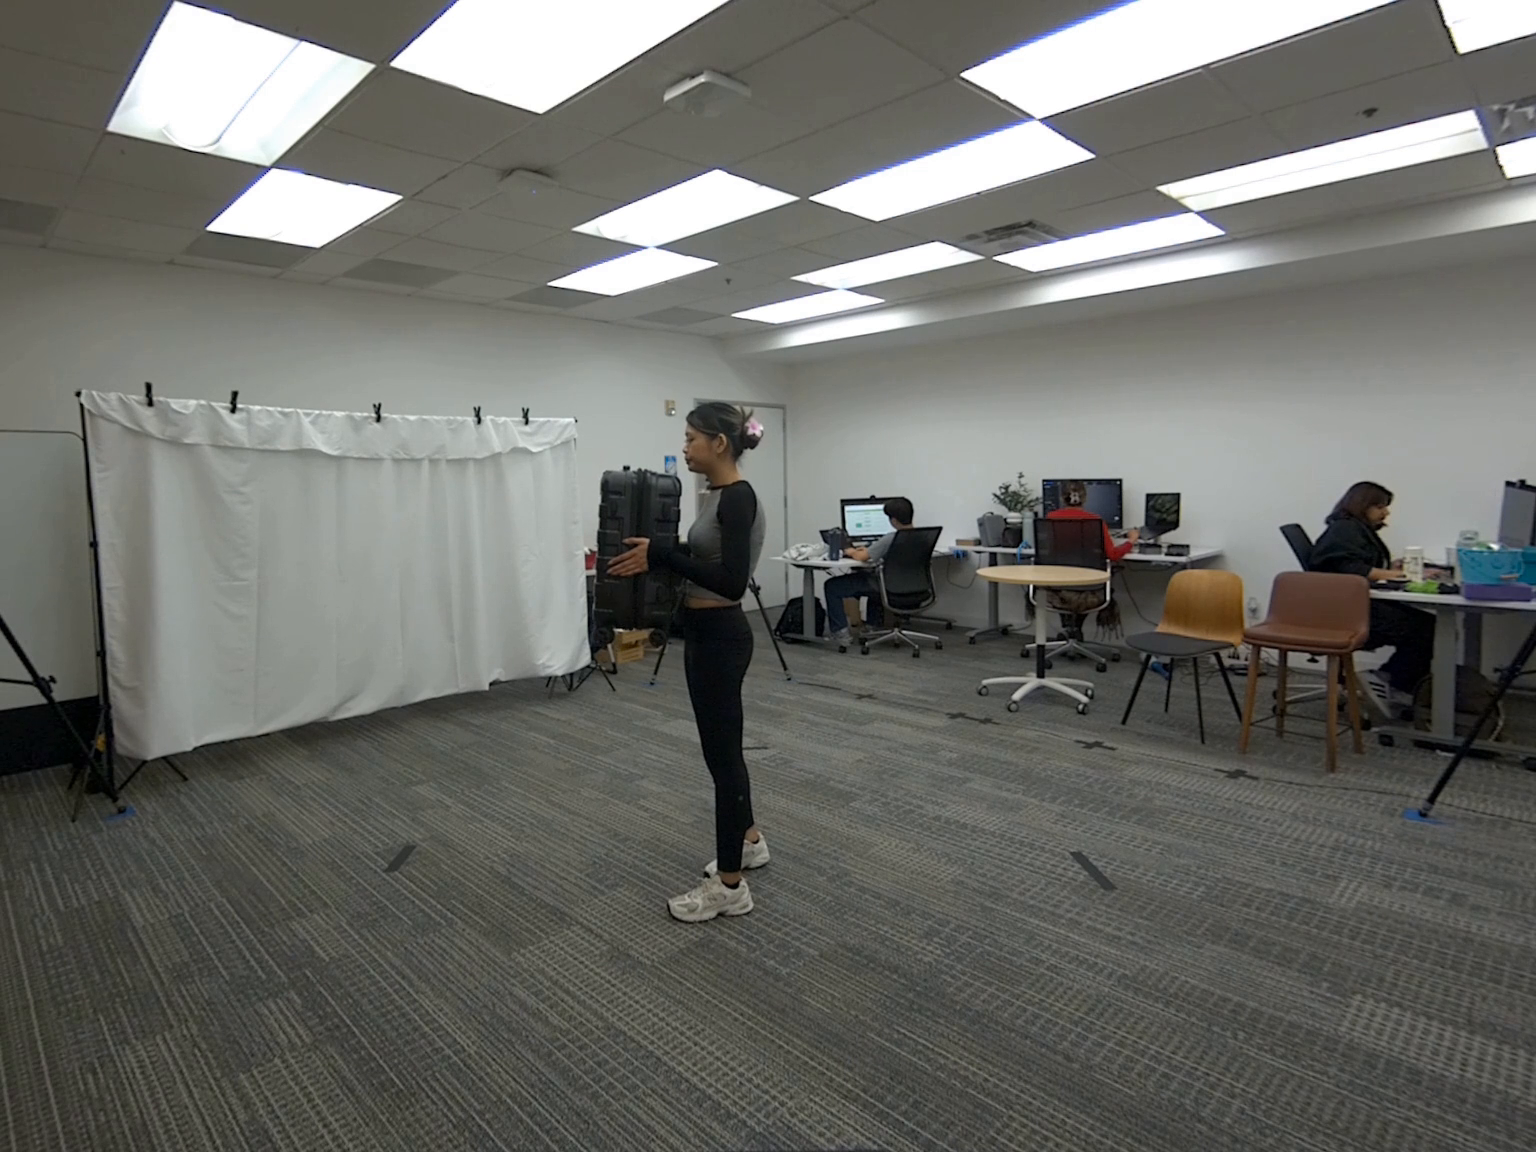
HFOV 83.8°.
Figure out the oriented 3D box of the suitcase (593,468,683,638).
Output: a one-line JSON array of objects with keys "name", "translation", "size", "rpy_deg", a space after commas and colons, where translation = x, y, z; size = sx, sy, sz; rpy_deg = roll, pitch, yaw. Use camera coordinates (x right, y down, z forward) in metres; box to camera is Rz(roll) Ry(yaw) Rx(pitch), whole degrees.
[{"name": "suitcase", "translation": [-0.420, -0.081, 2.753], "size": [0.246, 0.549, 0.378], "rpy_deg": [3, 2, -8]}]
